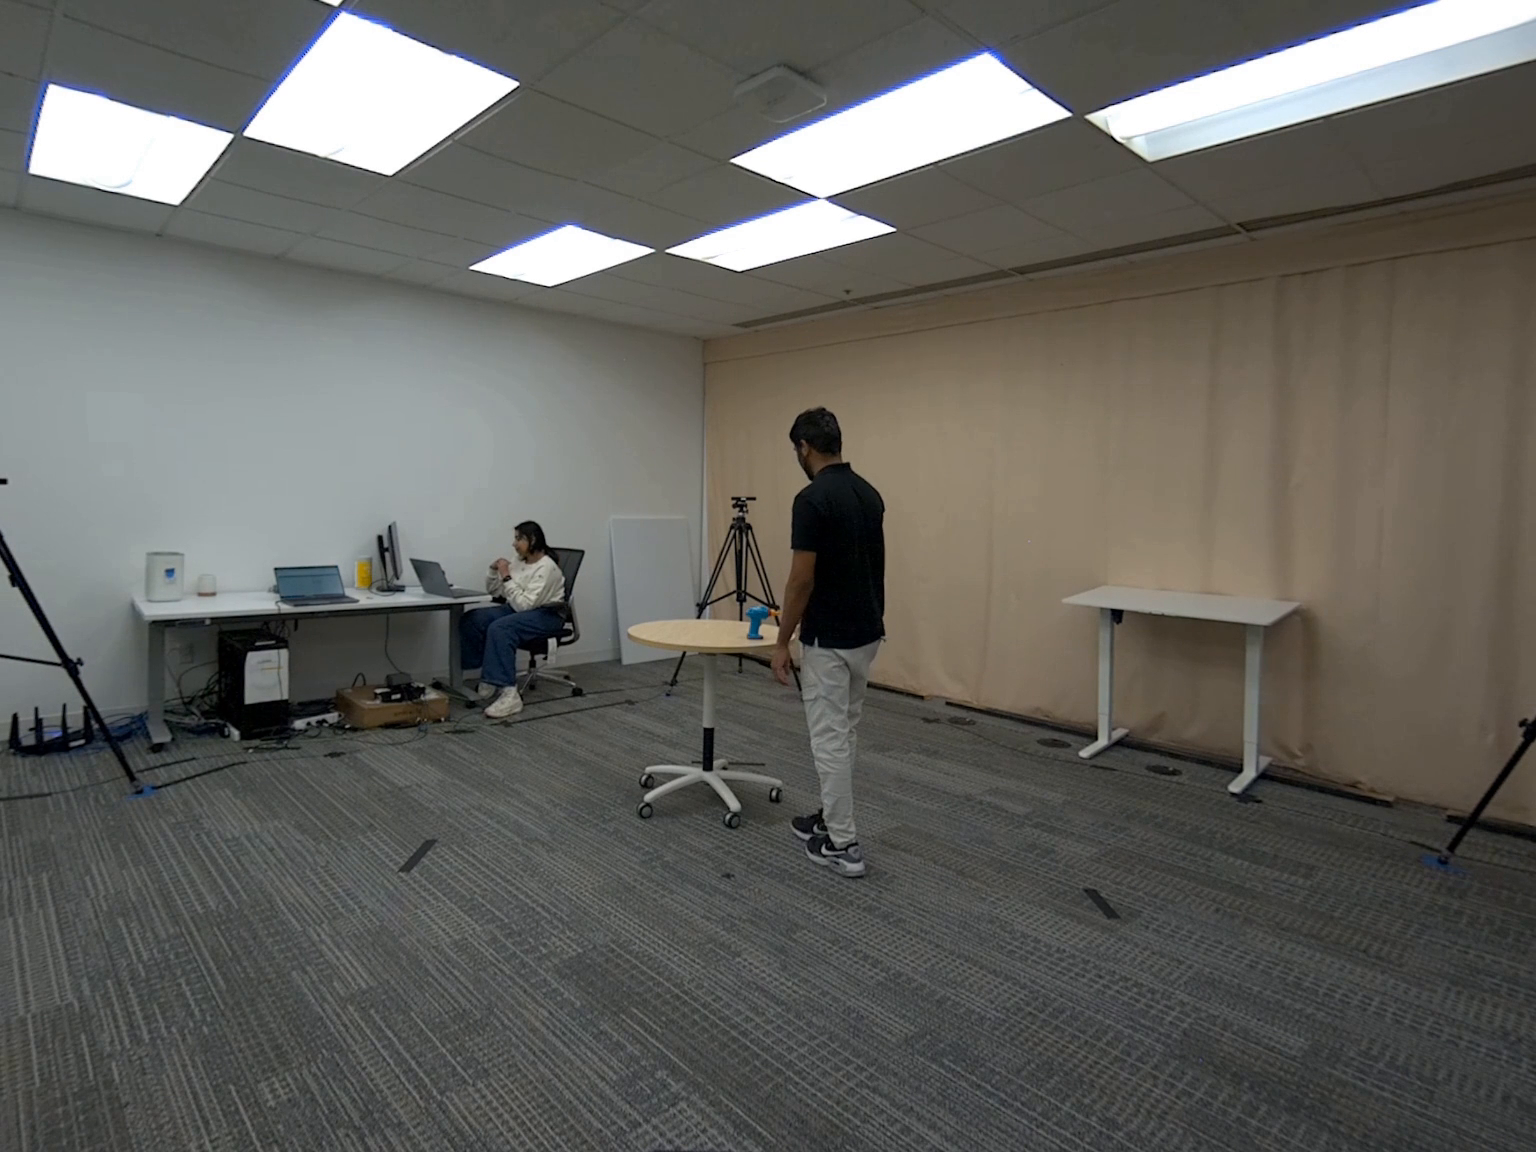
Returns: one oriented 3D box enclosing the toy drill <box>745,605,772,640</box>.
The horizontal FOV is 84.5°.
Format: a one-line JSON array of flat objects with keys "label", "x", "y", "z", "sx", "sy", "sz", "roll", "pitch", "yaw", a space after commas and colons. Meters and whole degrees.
[{"label": "toy drill", "x": -0.021, "y": 0.204, "z": 3.707, "sx": 0.167, "sy": 0.146, "sz": 0.062, "roll": 0, "pitch": 1, "yaw": -20}]
